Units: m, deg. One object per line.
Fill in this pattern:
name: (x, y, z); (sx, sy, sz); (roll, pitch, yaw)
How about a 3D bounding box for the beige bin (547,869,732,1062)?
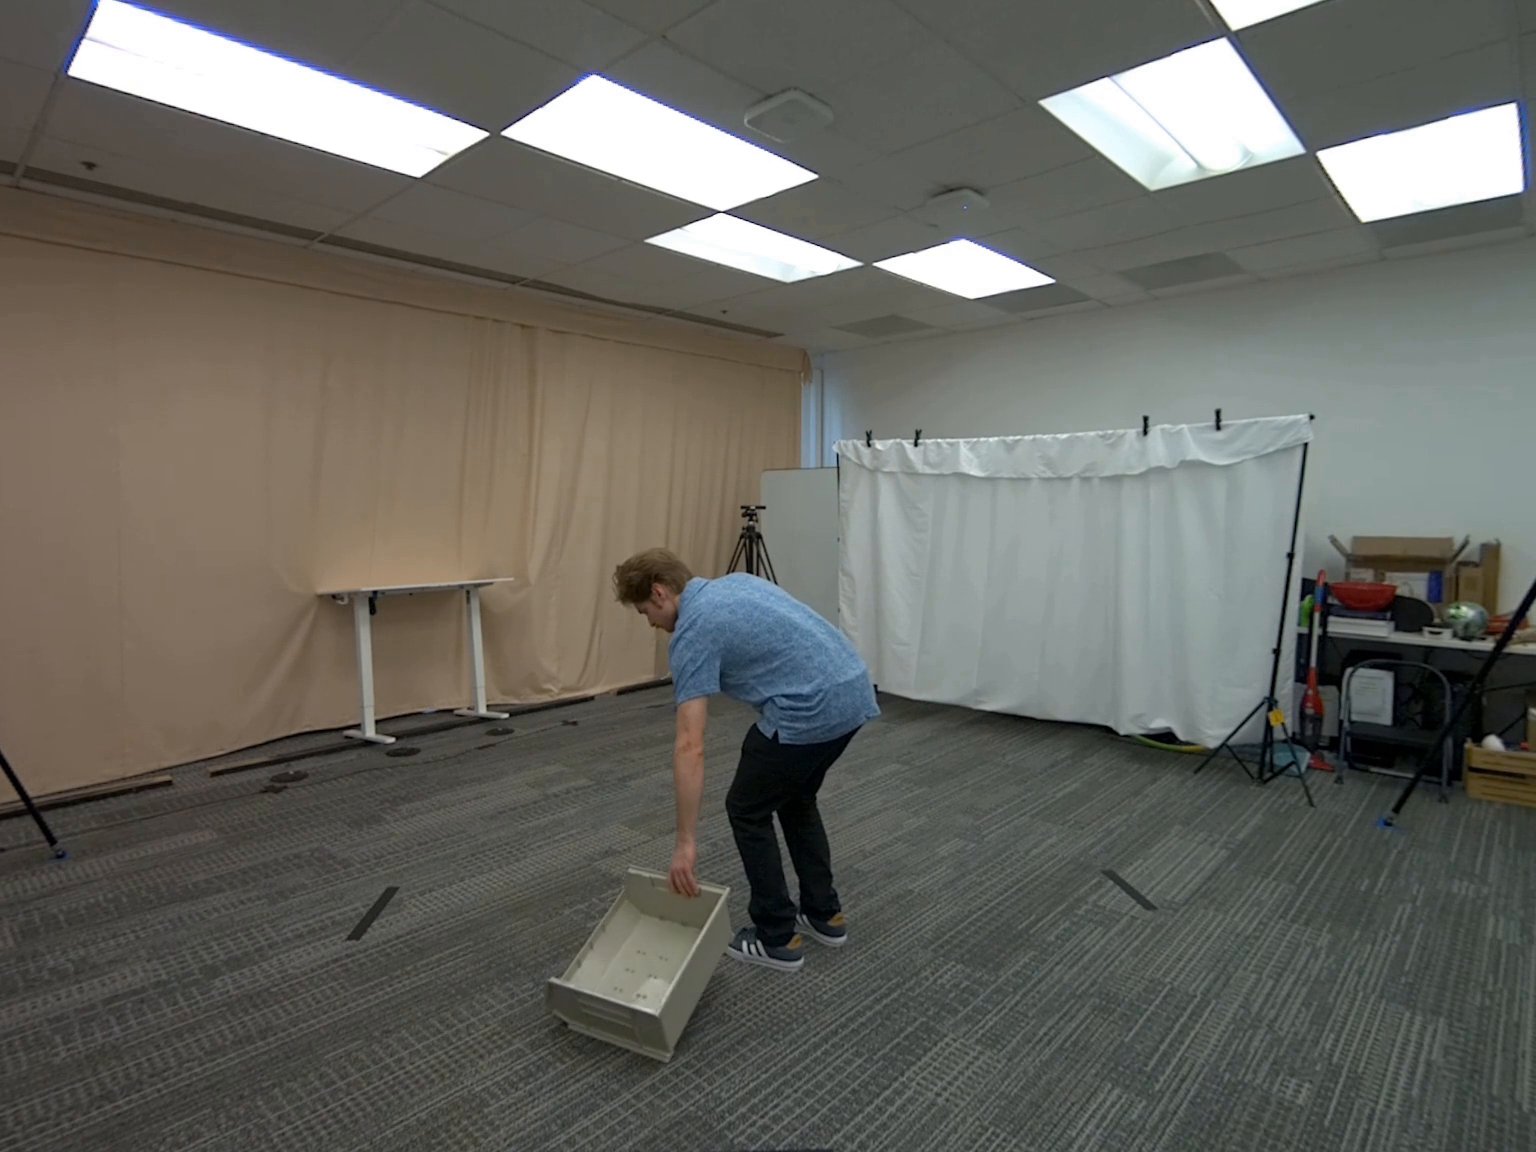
beige bin: (-0.342, 1.041, 2.313); (0.387, 0.186, 0.418); (2, 25, 25)
